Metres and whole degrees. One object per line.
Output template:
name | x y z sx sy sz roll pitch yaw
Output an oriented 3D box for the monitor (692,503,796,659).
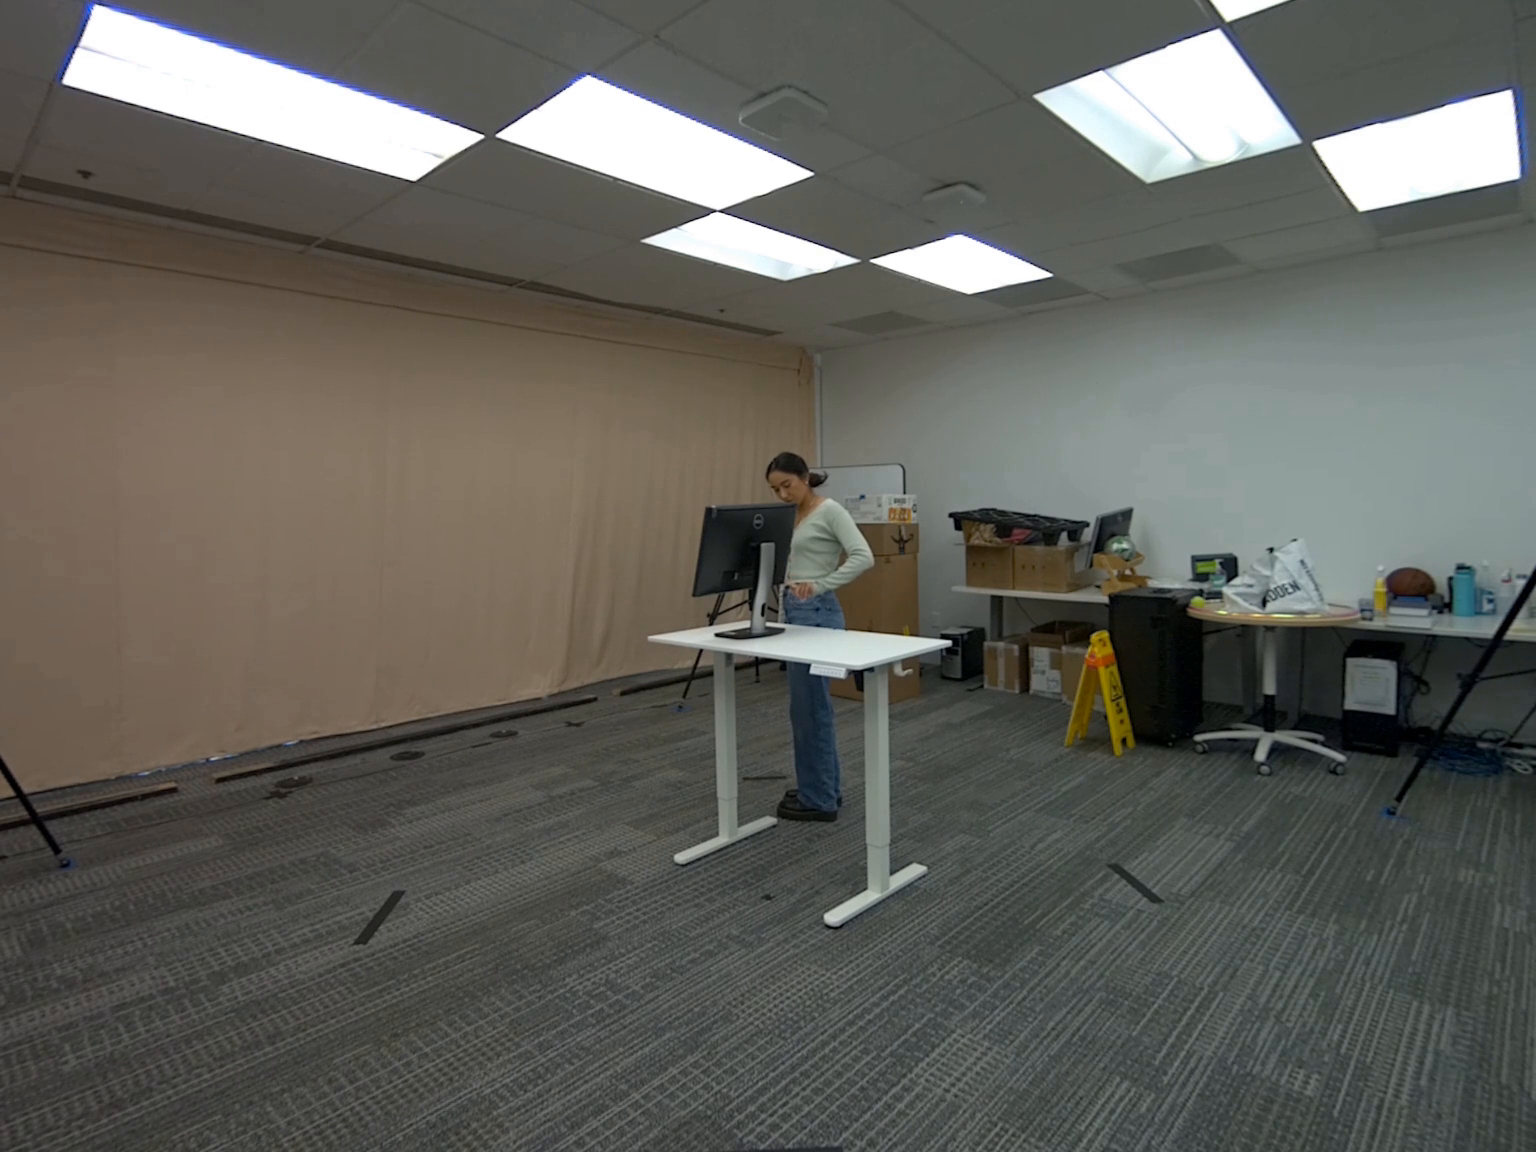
monitor | -0.058 -0.020 3.307 0.193 0.521 0.523 4 7 39
